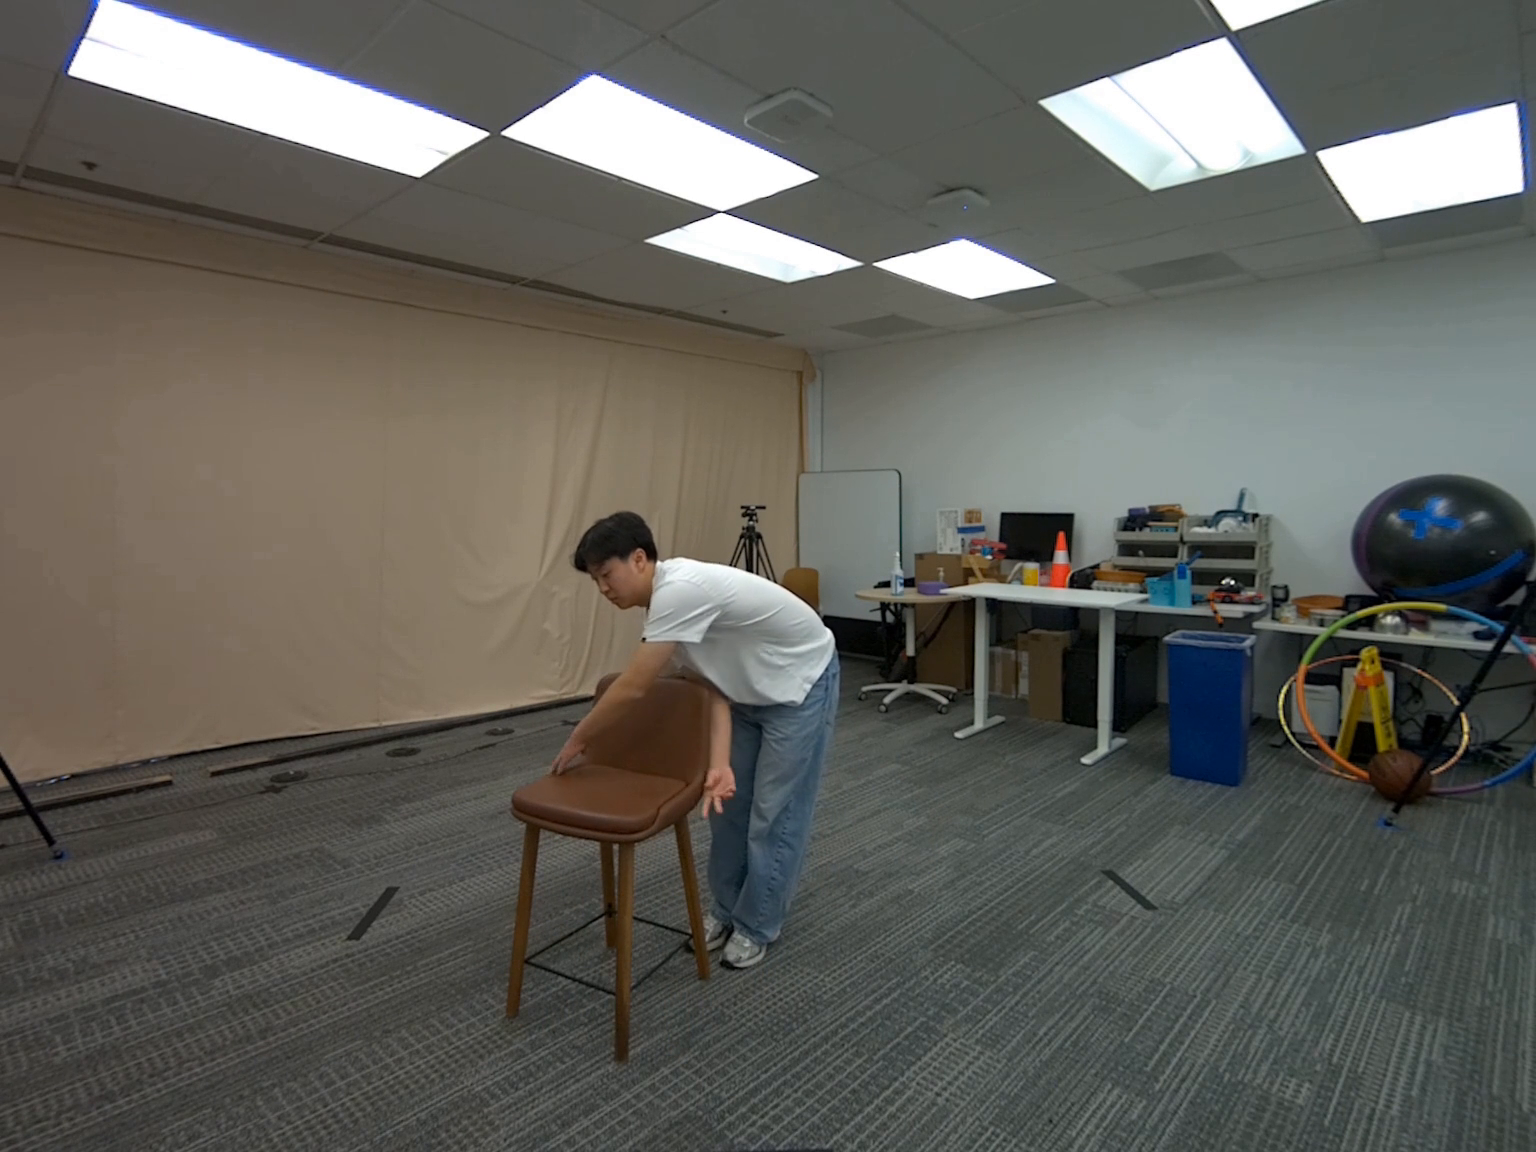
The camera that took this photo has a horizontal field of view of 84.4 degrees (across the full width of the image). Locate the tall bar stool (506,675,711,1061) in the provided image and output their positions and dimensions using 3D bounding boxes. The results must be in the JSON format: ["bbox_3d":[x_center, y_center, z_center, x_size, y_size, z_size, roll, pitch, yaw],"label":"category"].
[{"bbox_3d":[-0.429,0.760,2.375,0.470,0.889,0.454,2,2,31],"label":"tall bar stool"}]
